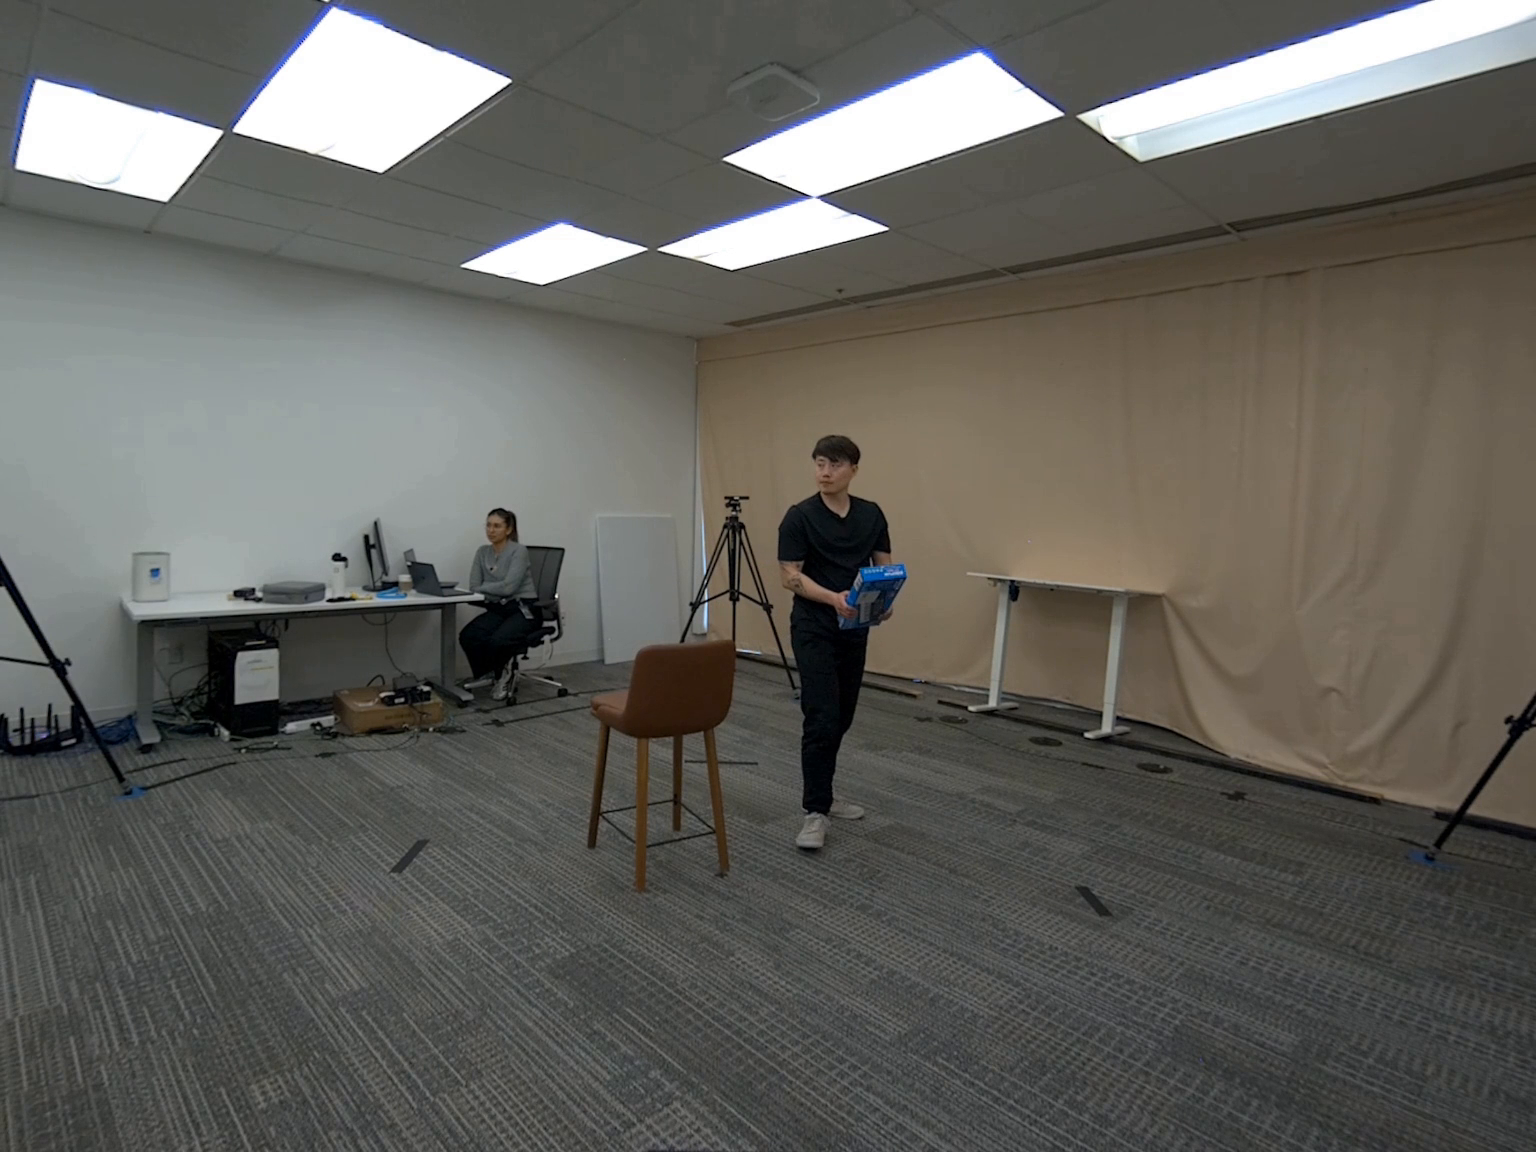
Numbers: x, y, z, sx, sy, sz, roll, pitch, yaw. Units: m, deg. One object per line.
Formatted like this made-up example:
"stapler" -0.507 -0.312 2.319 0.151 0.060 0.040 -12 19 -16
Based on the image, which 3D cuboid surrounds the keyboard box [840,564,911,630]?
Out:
"keyboard box" 0.403 0.092 3.315 0.174 0.060 0.431 -5 -27 -12
